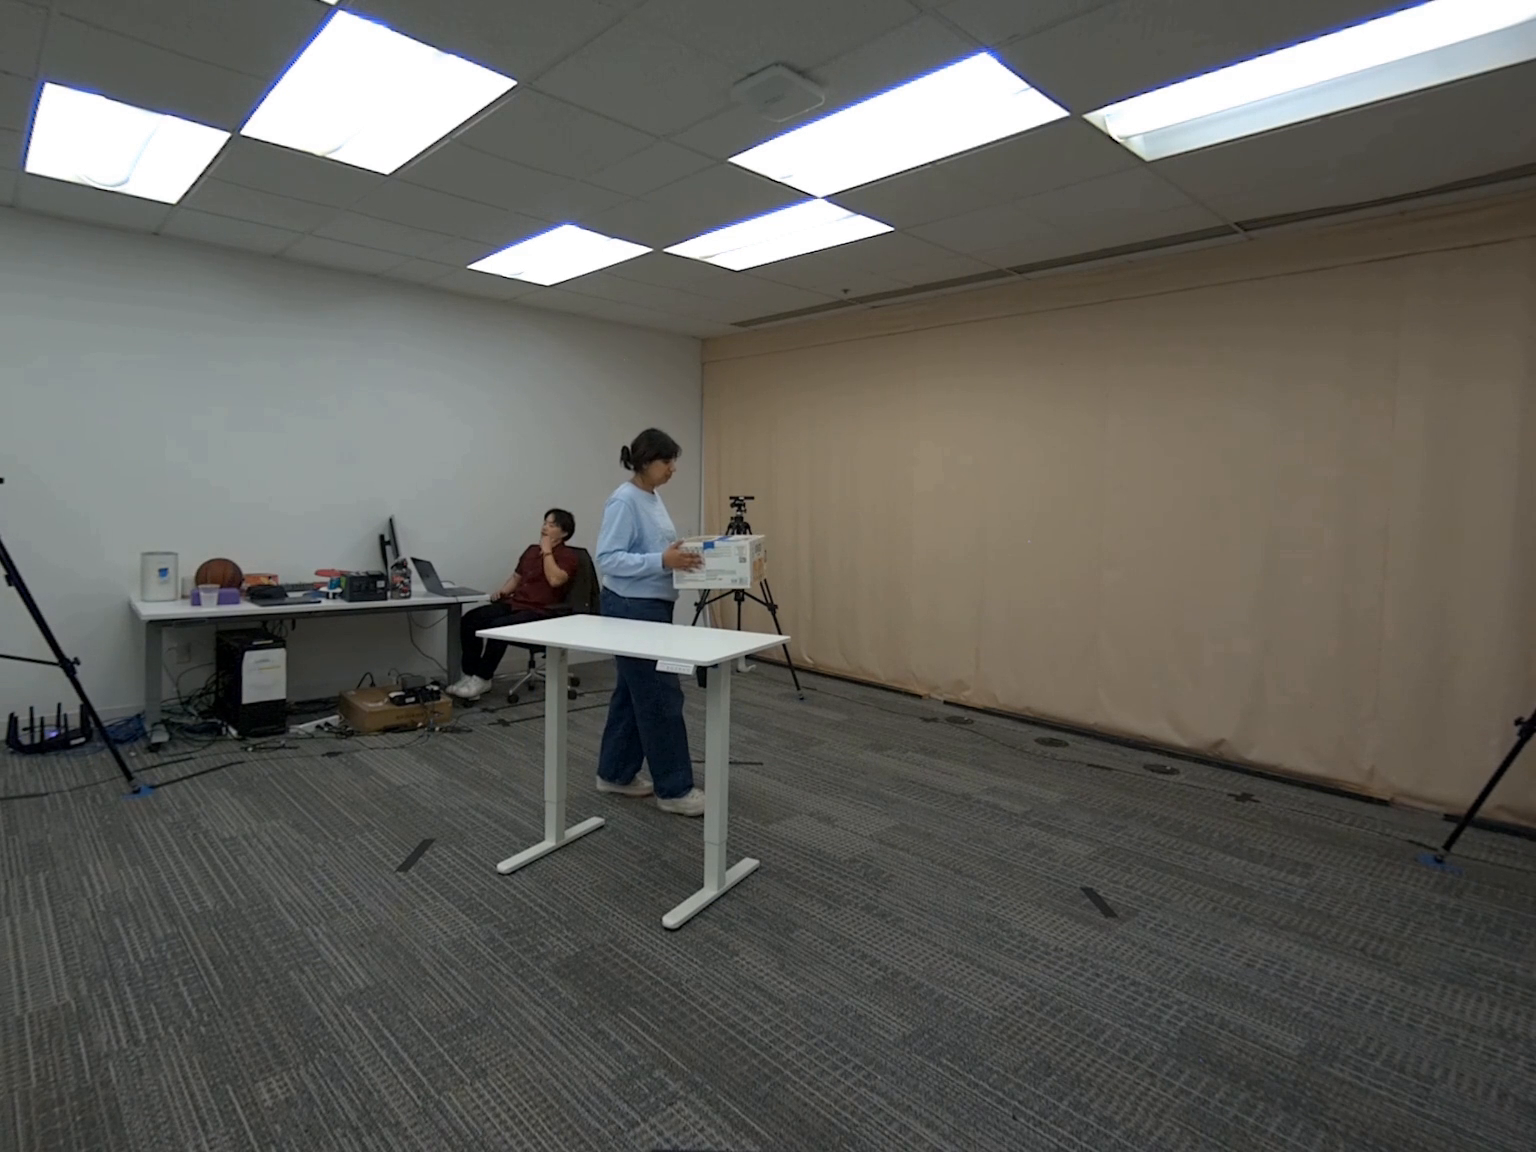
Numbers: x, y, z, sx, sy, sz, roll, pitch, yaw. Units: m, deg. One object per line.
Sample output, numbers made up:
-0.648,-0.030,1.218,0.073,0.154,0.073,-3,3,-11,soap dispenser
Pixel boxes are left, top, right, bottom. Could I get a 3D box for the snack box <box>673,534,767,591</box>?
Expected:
-0.212,-0.070,3.753,0.344,0.205,0.402,-1,5,12,snack box
